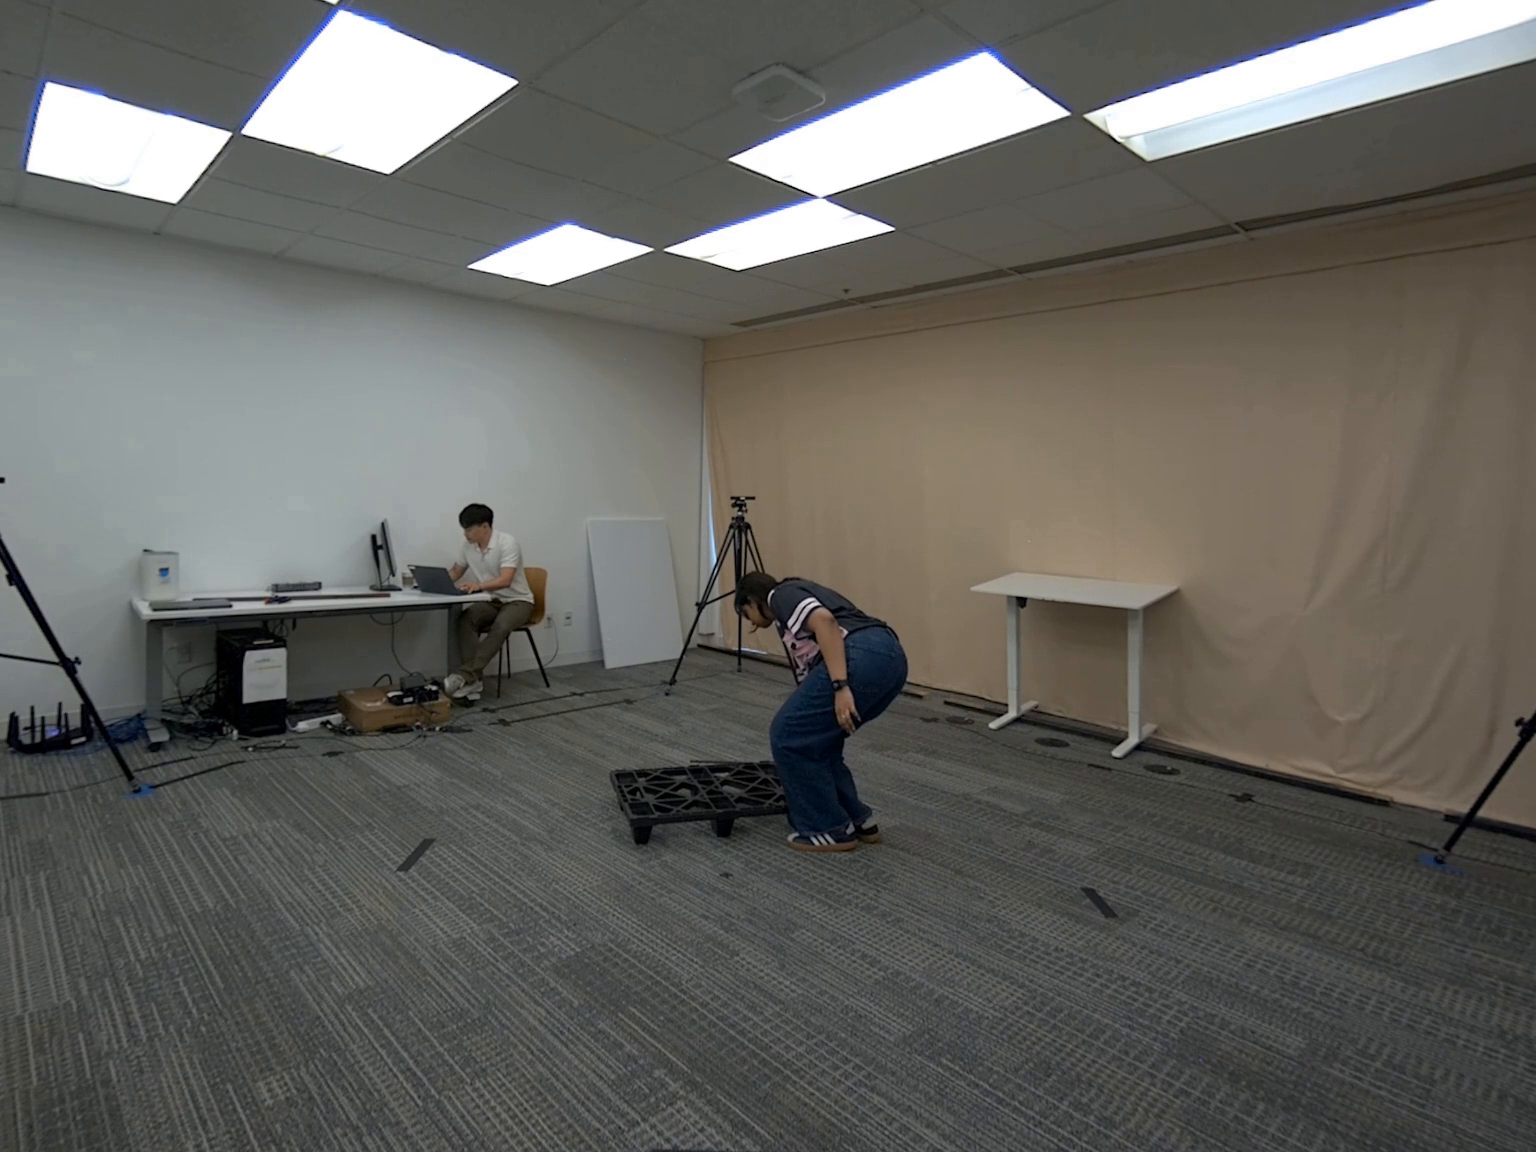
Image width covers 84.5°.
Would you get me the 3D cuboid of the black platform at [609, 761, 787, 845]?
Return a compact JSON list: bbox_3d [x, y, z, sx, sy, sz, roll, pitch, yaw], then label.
[{"bbox_3d":[-0.265,0.979,3.679,0.795,0.143,0.614,0,4,-17],"label":"black platform"}]
